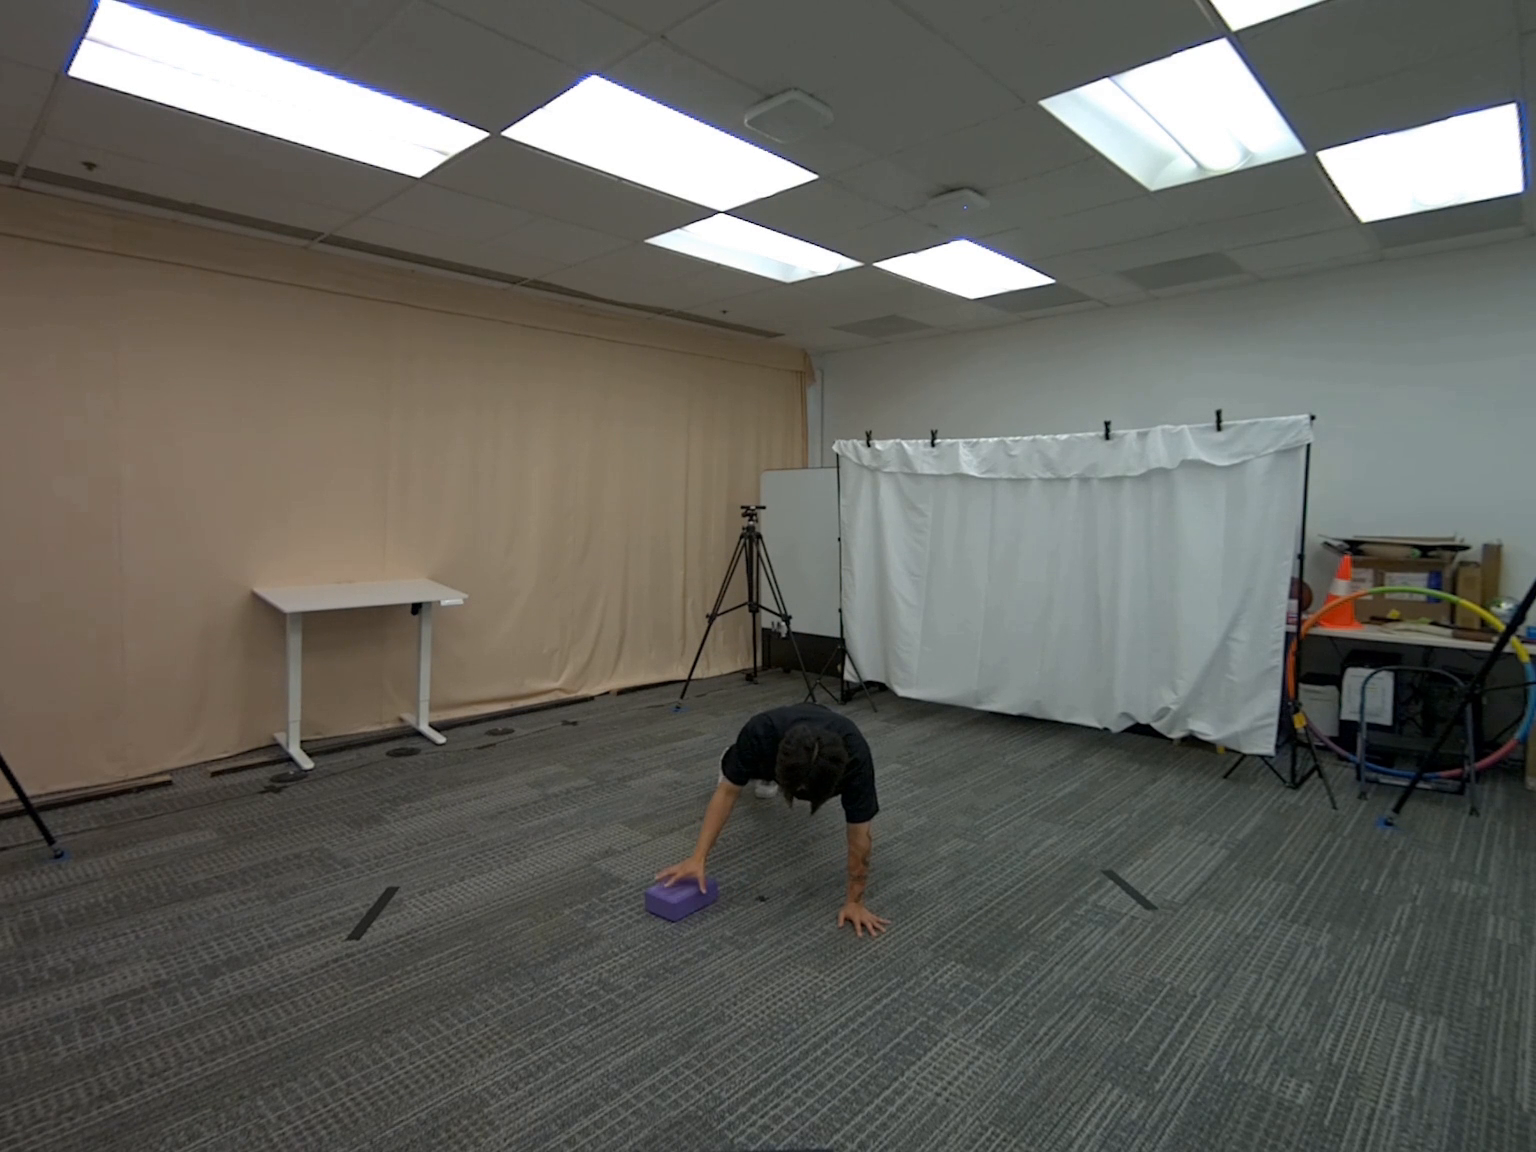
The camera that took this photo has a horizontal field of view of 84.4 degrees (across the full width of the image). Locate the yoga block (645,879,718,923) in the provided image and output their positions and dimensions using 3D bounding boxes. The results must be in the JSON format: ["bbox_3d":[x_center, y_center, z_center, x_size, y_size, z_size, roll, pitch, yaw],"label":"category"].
[{"bbox_3d":[-0.300,1.111,2.931,0.154,0.076,0.222,2,5,38],"label":"yoga block"}]
